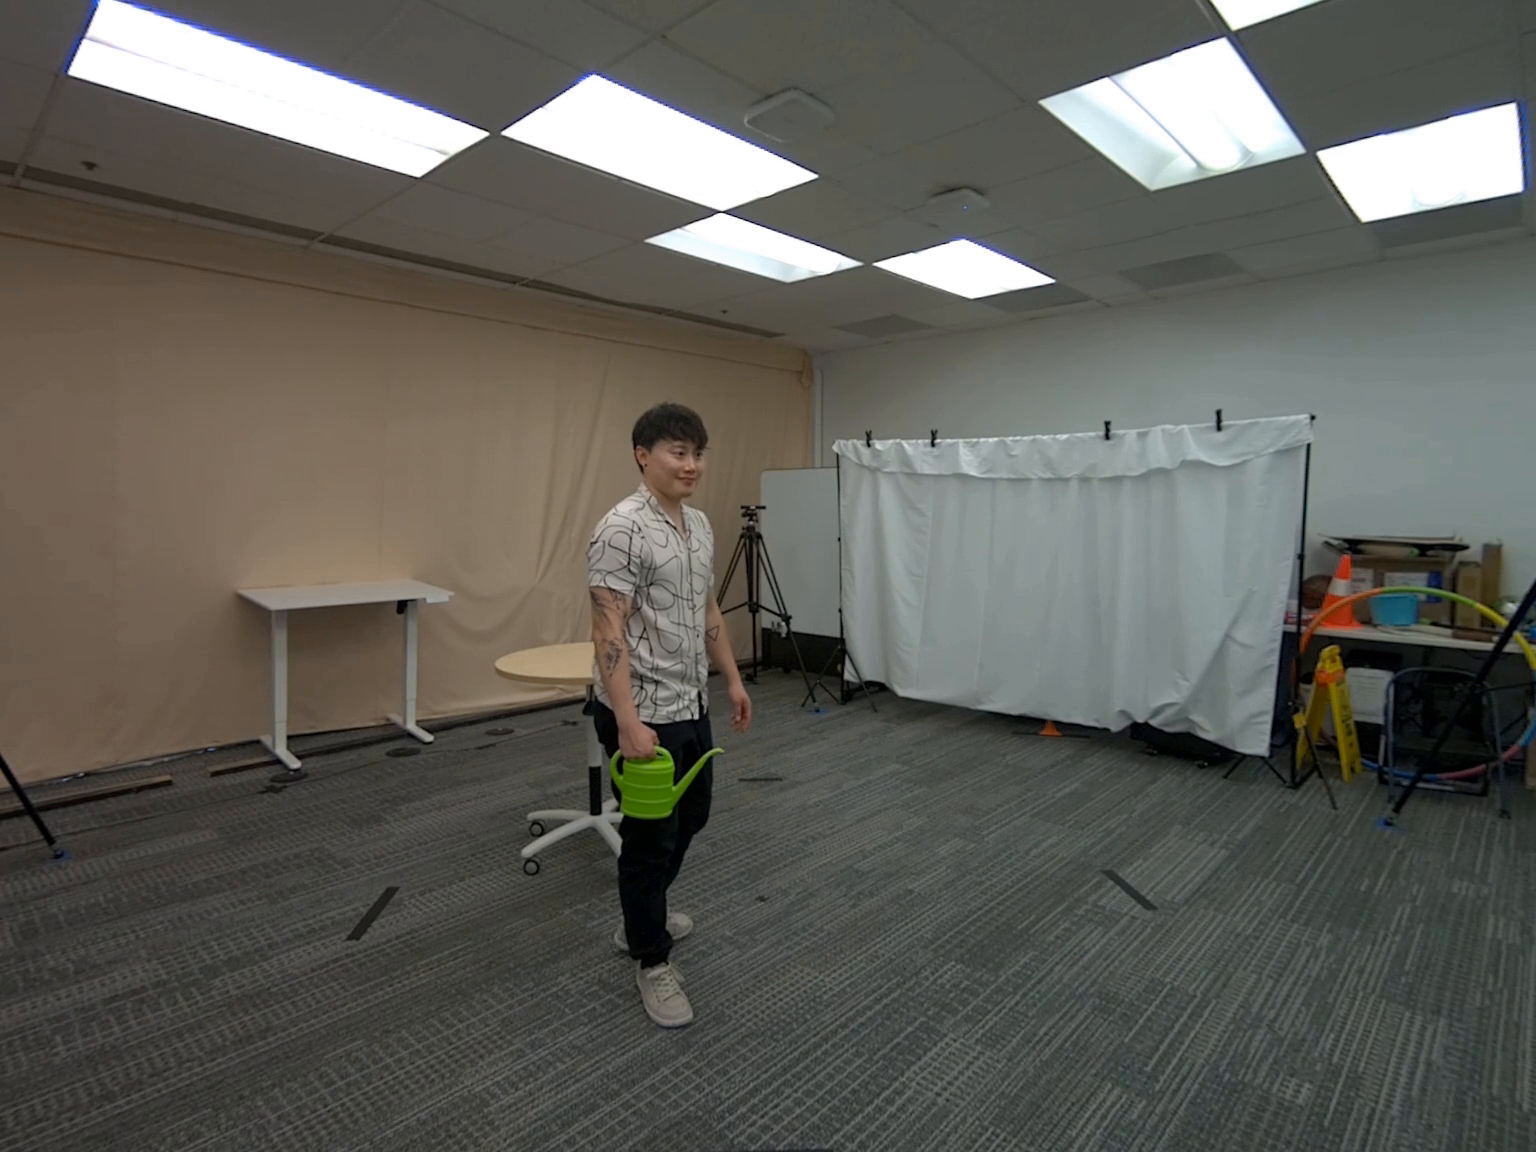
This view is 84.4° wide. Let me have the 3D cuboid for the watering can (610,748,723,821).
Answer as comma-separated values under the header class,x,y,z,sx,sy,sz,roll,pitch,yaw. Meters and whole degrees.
class,x,y,z,sx,sy,sz,roll,pitch,yaw
watering can,-0.262,0.513,2.109,0.283,0.176,0.096,3,3,16
